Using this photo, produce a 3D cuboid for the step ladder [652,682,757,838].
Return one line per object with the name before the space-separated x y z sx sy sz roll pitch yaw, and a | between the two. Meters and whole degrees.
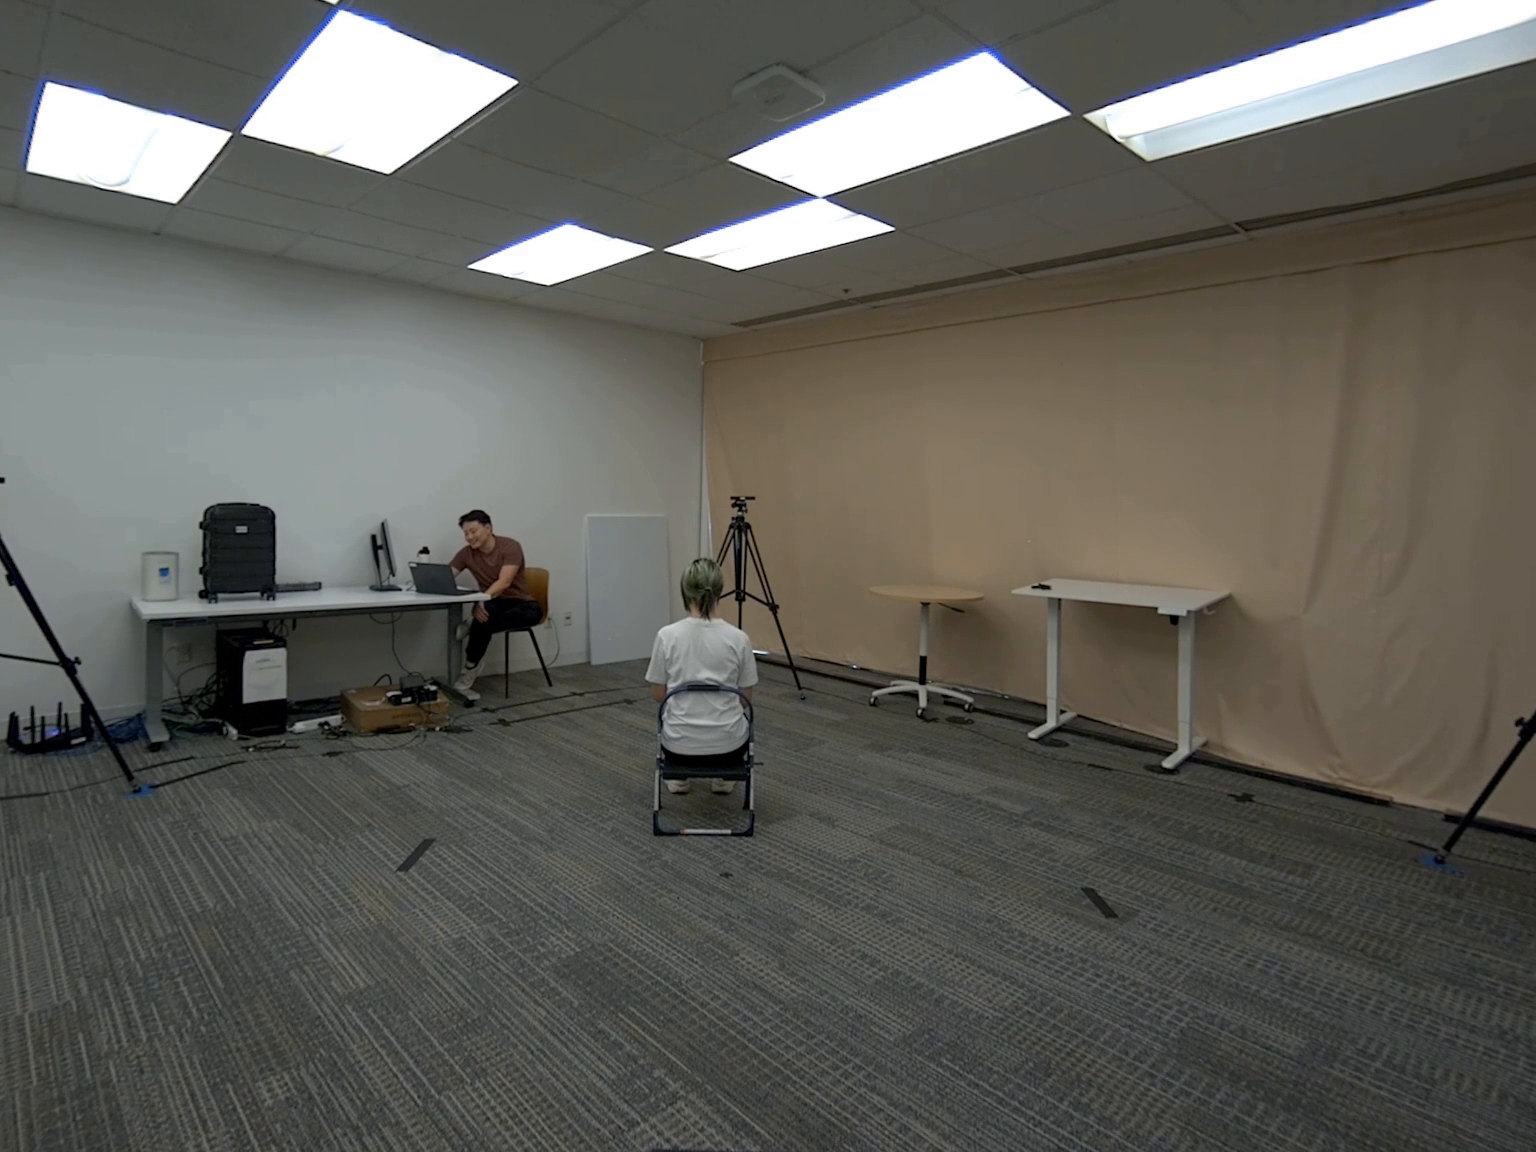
step ladder | -0.285 0.762 3.613 0.429 0.605 0.351 1 2 -5
